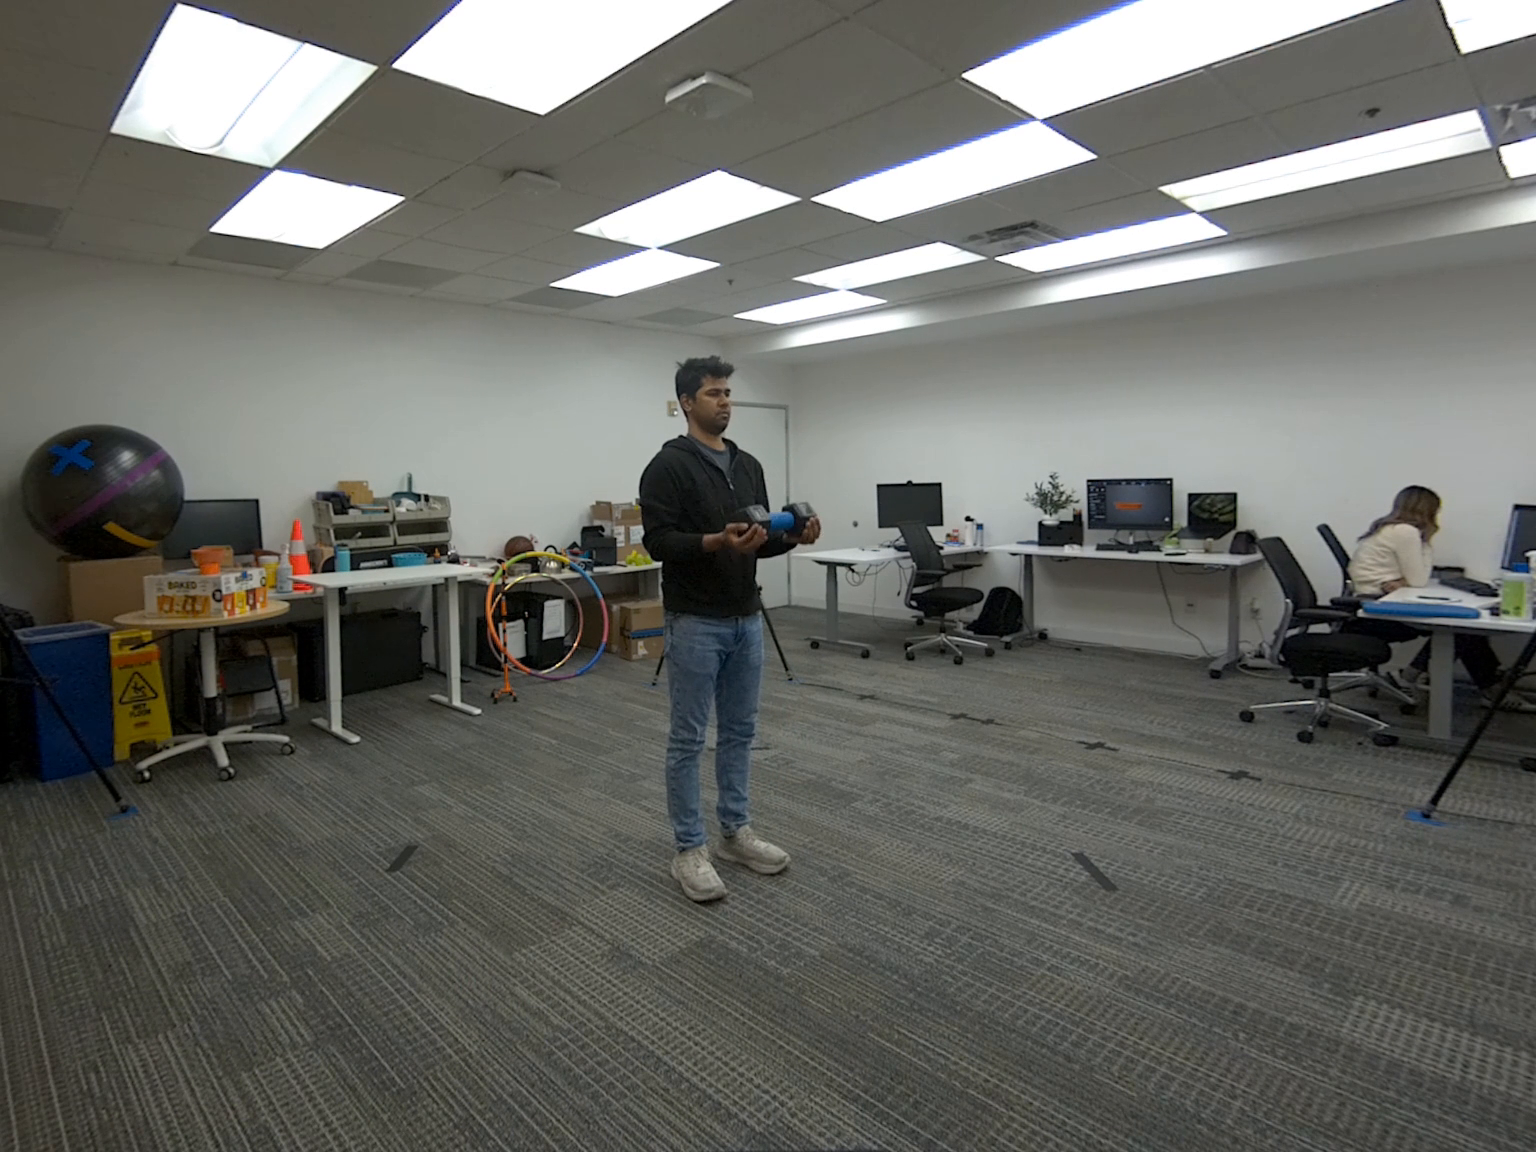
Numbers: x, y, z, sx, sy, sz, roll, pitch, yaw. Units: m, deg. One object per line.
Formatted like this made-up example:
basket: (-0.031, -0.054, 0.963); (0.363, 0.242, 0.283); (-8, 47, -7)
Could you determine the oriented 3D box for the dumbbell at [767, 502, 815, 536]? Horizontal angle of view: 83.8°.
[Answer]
dumbbell: (0.015, -0.175, 2.787); (0.286, 0.127, 0.108); (-8, -36, -41)
